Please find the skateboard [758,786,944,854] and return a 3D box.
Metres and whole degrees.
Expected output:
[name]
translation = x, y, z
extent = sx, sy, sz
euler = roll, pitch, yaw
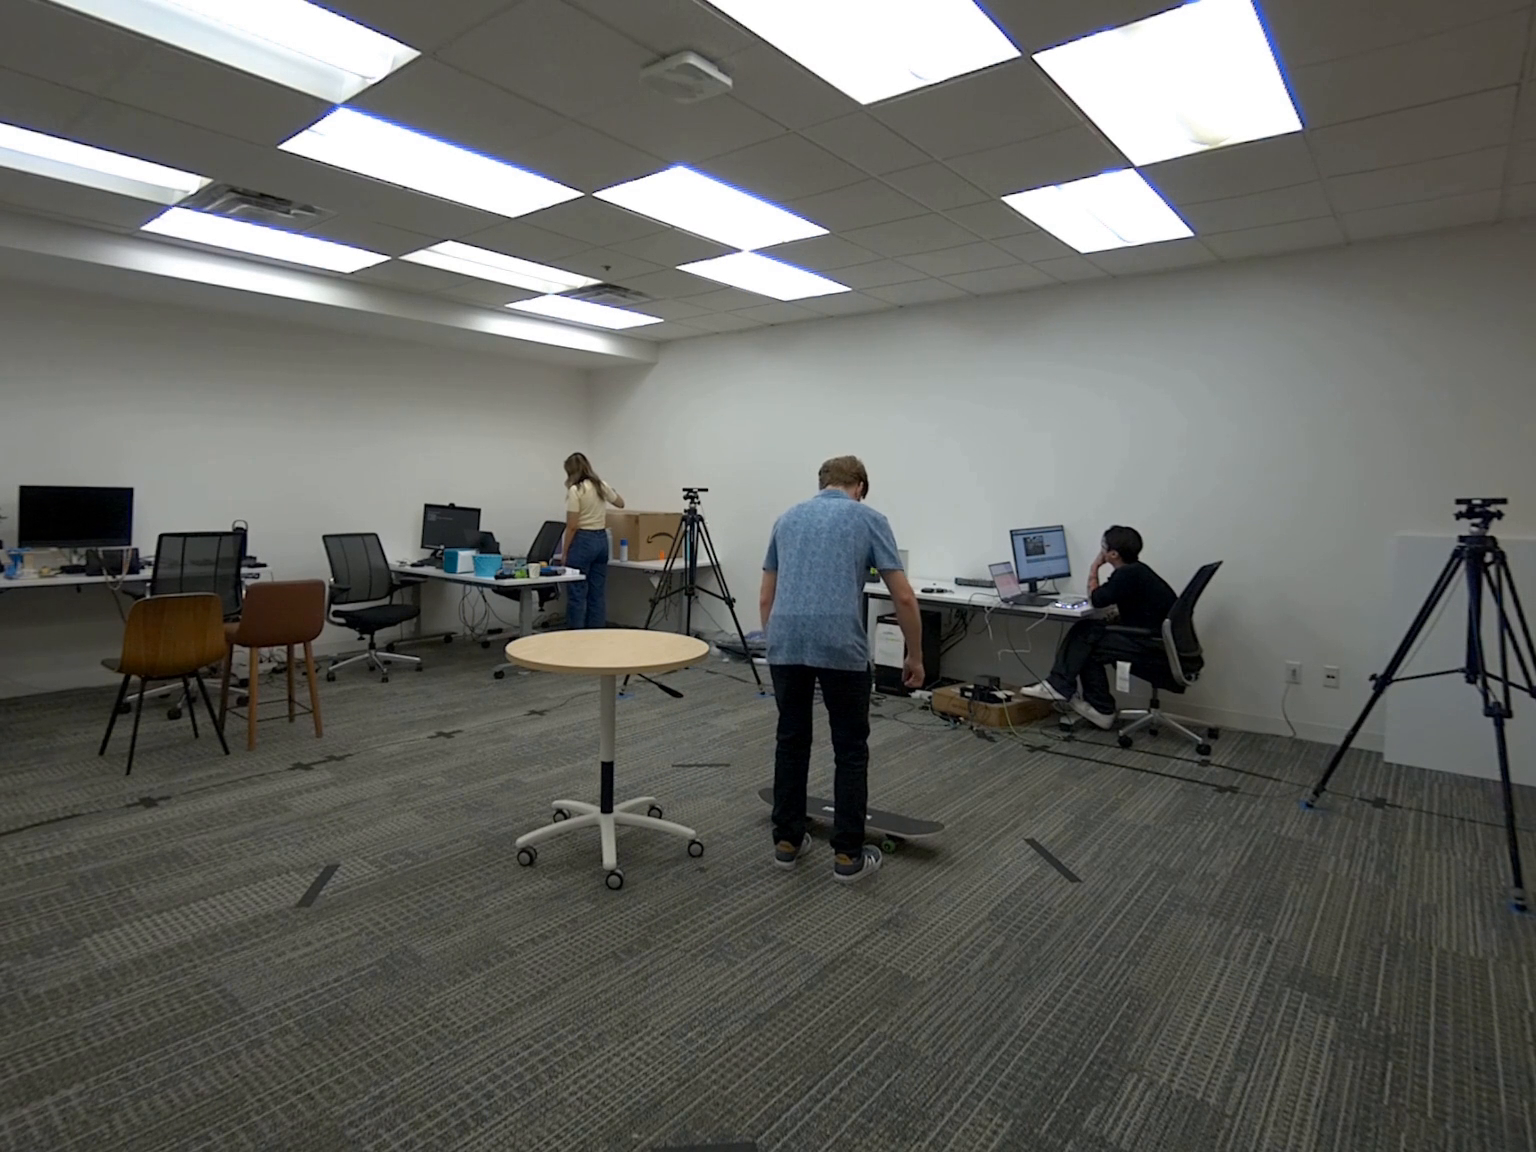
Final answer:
[skateboard]
translation = 0.307, 0.985, 3.451
extent = 0.807, 0.110, 0.189
euler = 5, 6, 27
